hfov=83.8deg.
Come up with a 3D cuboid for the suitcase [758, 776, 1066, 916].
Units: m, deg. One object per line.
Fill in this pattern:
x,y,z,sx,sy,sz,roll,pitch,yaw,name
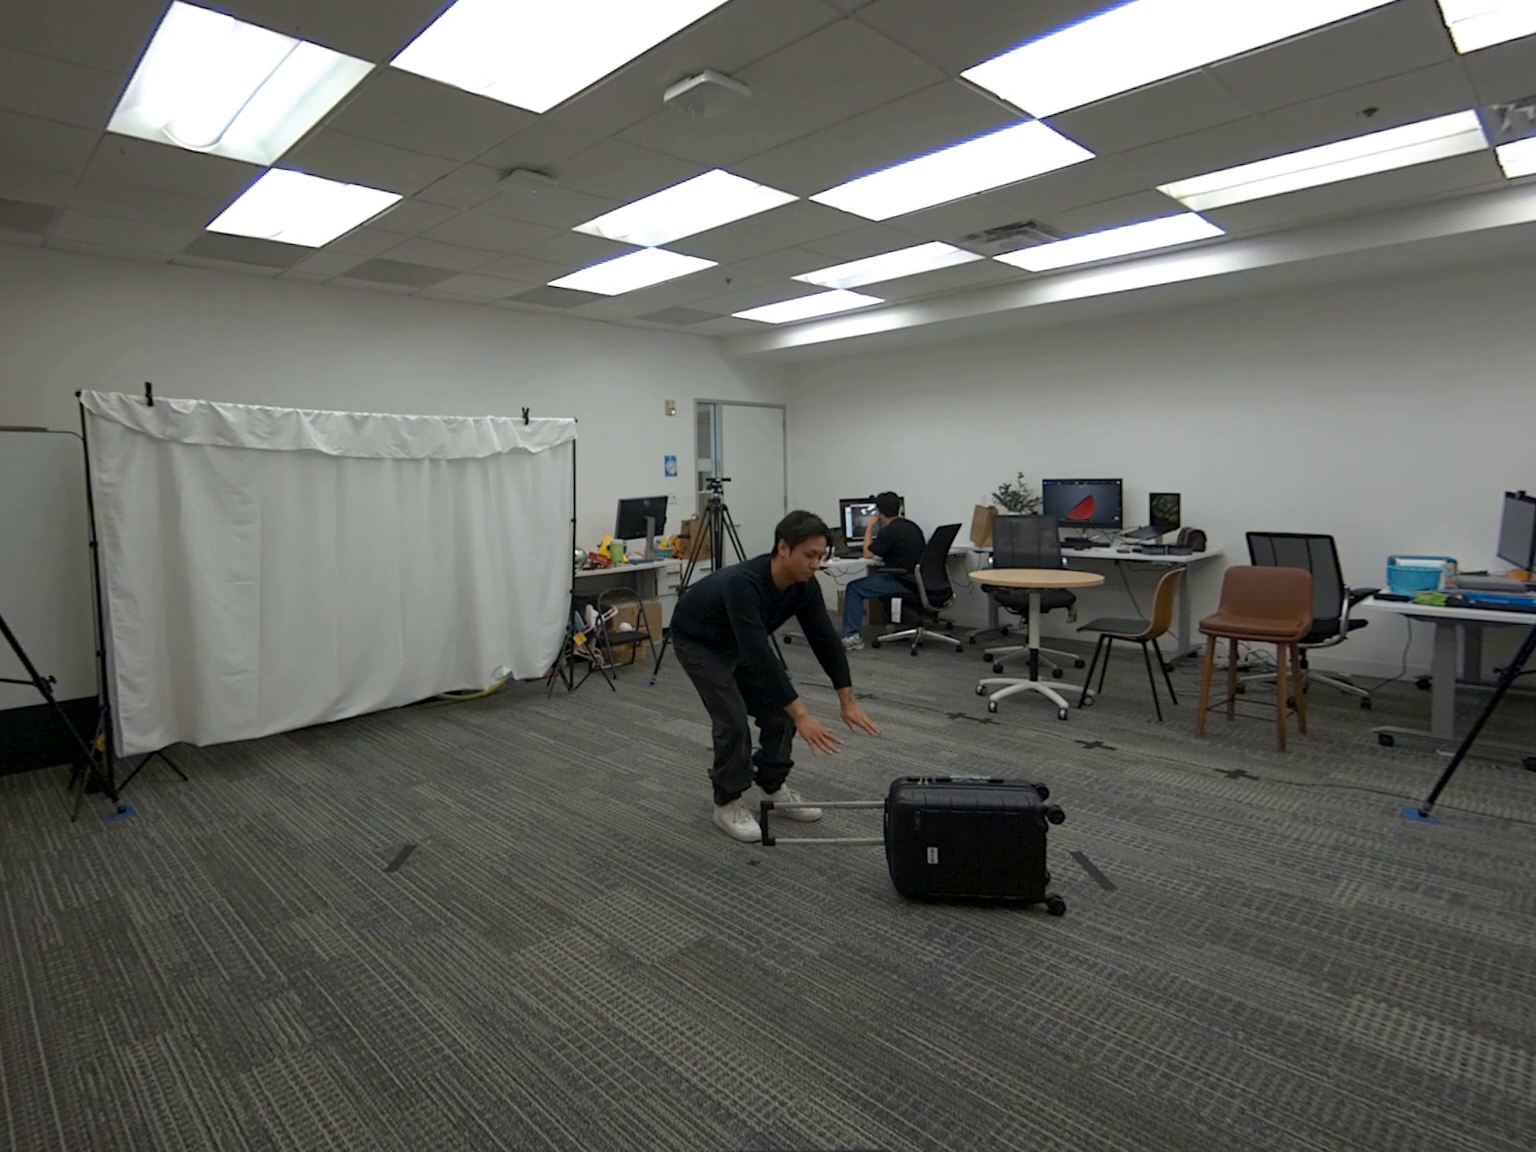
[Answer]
0.465,0.873,2.863,0.985,0.383,0.256,0,4,7,suitcase
